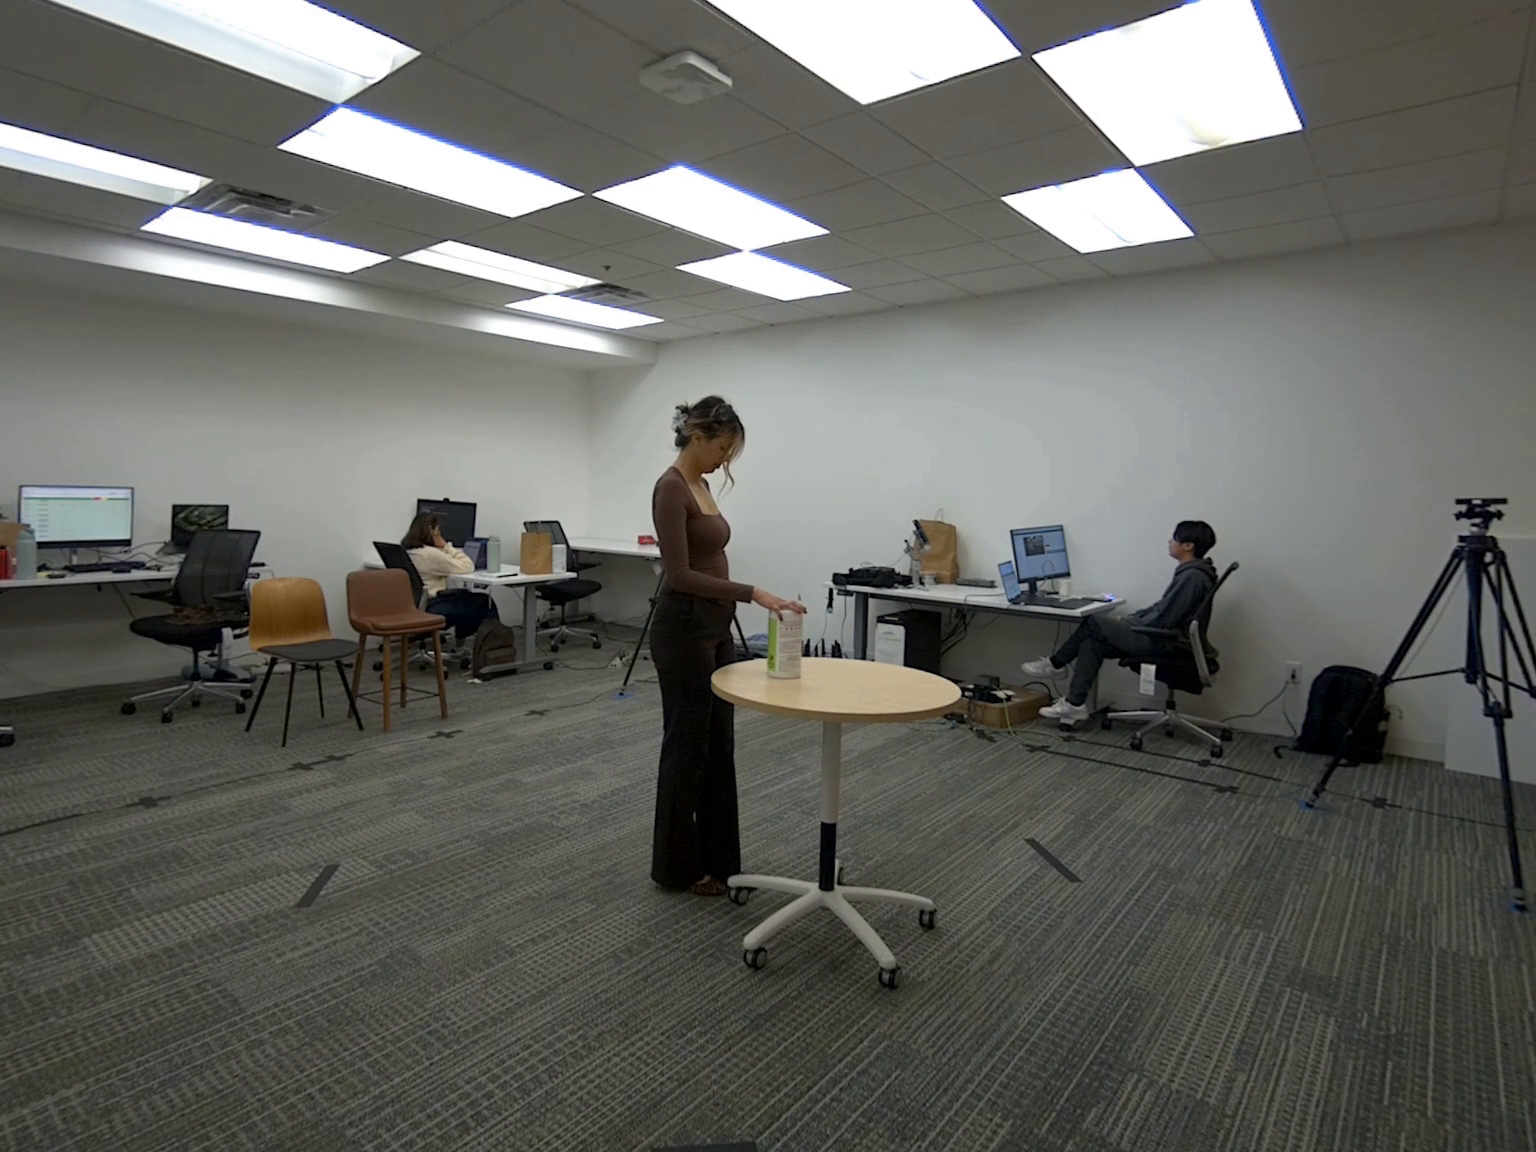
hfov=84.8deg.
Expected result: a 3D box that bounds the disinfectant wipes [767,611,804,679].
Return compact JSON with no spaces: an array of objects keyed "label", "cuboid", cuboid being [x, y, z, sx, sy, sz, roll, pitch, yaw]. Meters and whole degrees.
[{"label":"disinfectant wipes","cuboid":[0.047,0.210,2.709,0.118,0.217,0.118,-1,2,-2]}]
